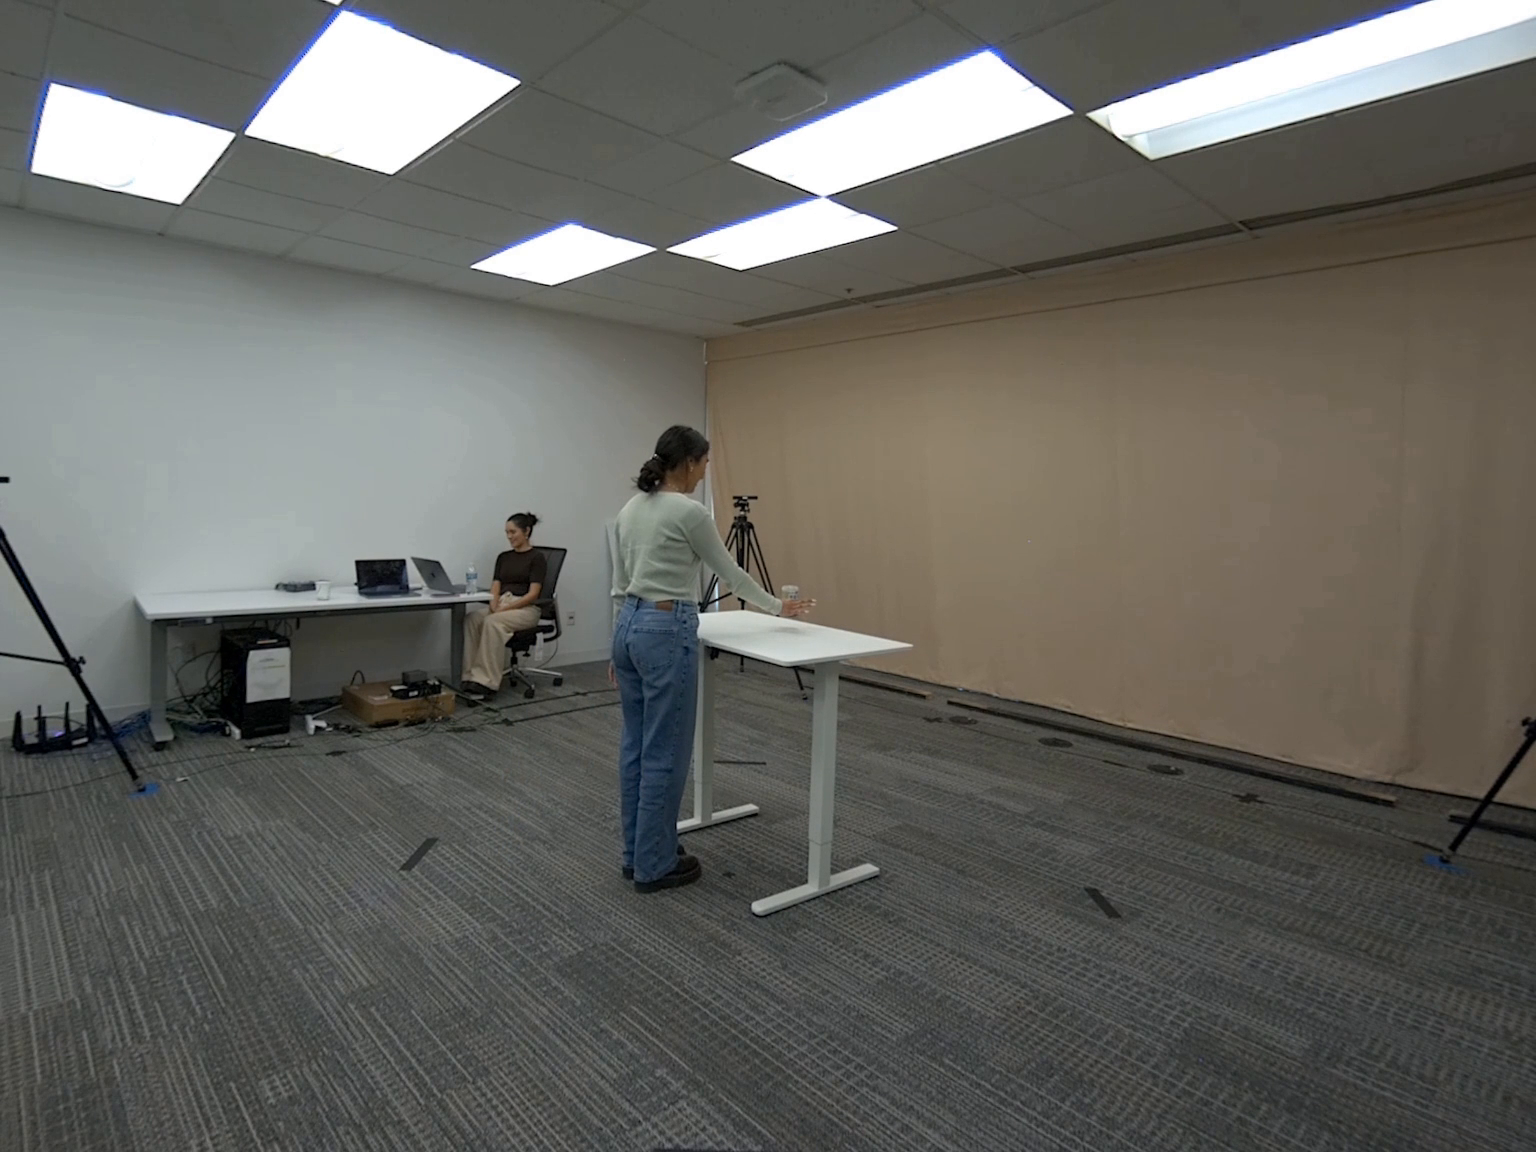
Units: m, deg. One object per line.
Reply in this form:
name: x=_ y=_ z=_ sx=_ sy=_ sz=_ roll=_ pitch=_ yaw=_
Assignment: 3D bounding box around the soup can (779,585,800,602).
soup can: x=0.082 y=0.100 z=3.302 sx=0.067 sy=0.121 sz=0.067 roll=0 pitch=6 yaw=-1
